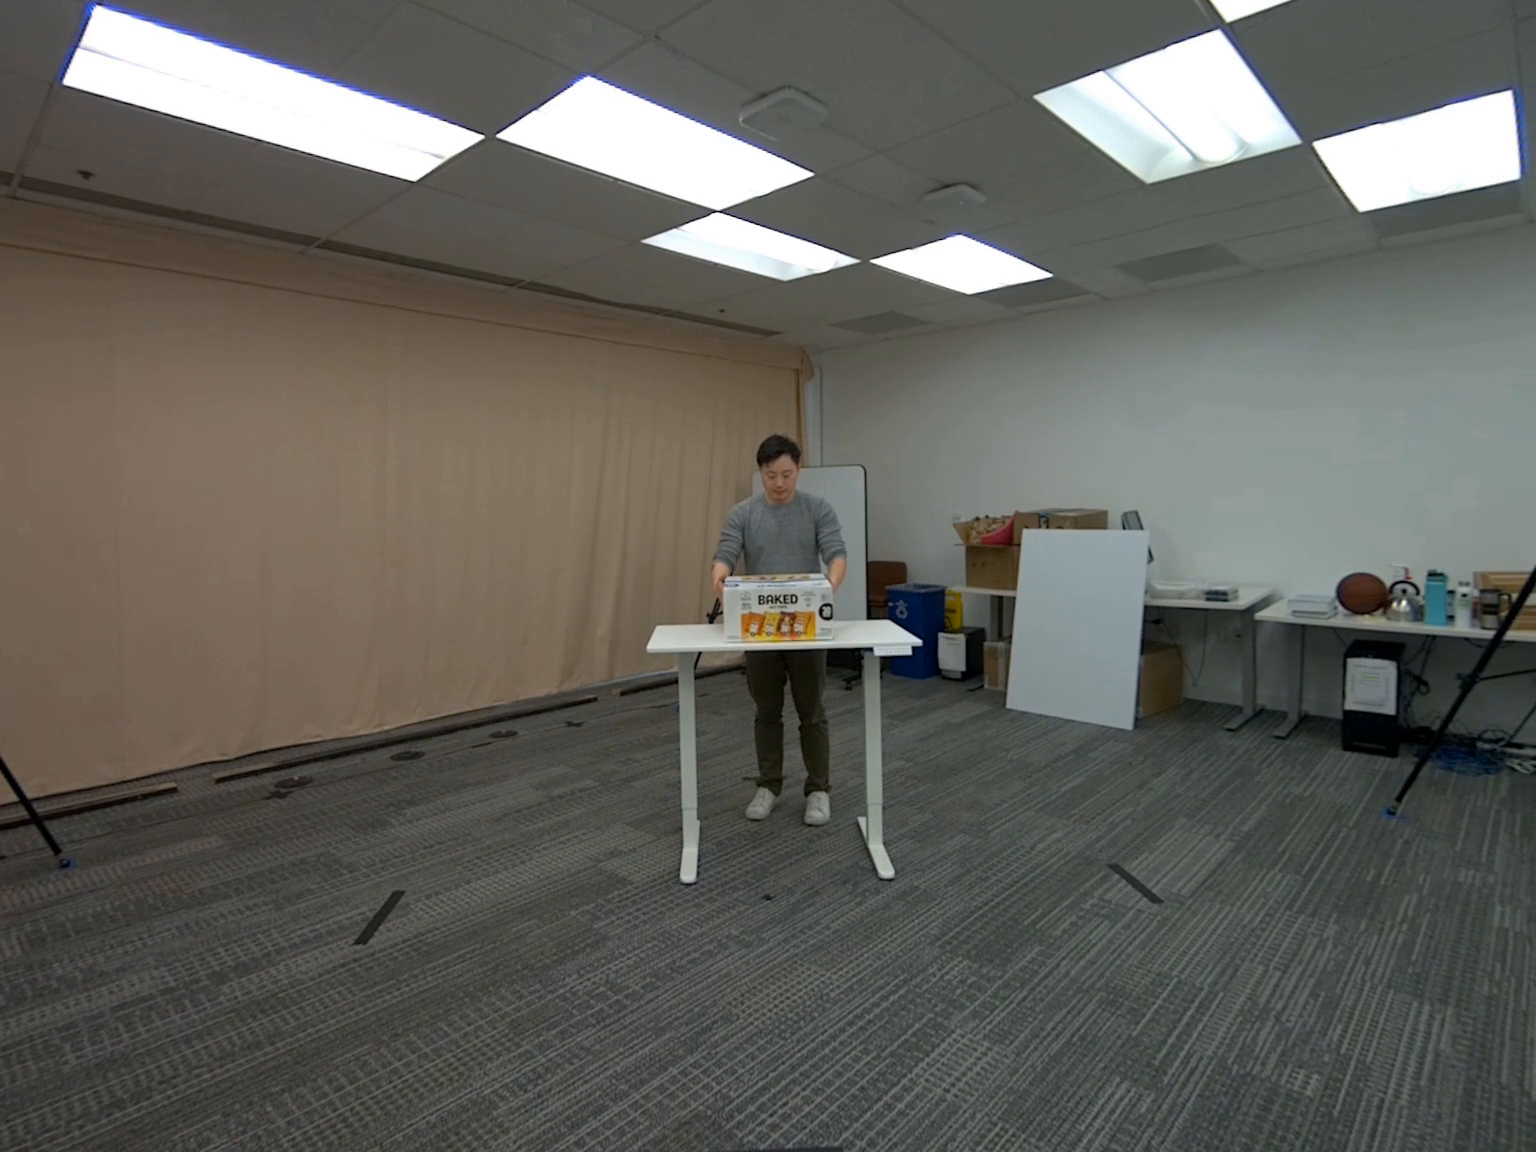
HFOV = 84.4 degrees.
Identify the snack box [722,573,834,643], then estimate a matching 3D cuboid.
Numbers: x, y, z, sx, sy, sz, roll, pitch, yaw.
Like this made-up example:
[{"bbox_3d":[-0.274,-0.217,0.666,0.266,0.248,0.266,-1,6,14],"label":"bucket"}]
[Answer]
[{"bbox_3d":[0.036,0.118,3.284,0.406,0.205,0.341,-2,6,0],"label":"snack box"}]
